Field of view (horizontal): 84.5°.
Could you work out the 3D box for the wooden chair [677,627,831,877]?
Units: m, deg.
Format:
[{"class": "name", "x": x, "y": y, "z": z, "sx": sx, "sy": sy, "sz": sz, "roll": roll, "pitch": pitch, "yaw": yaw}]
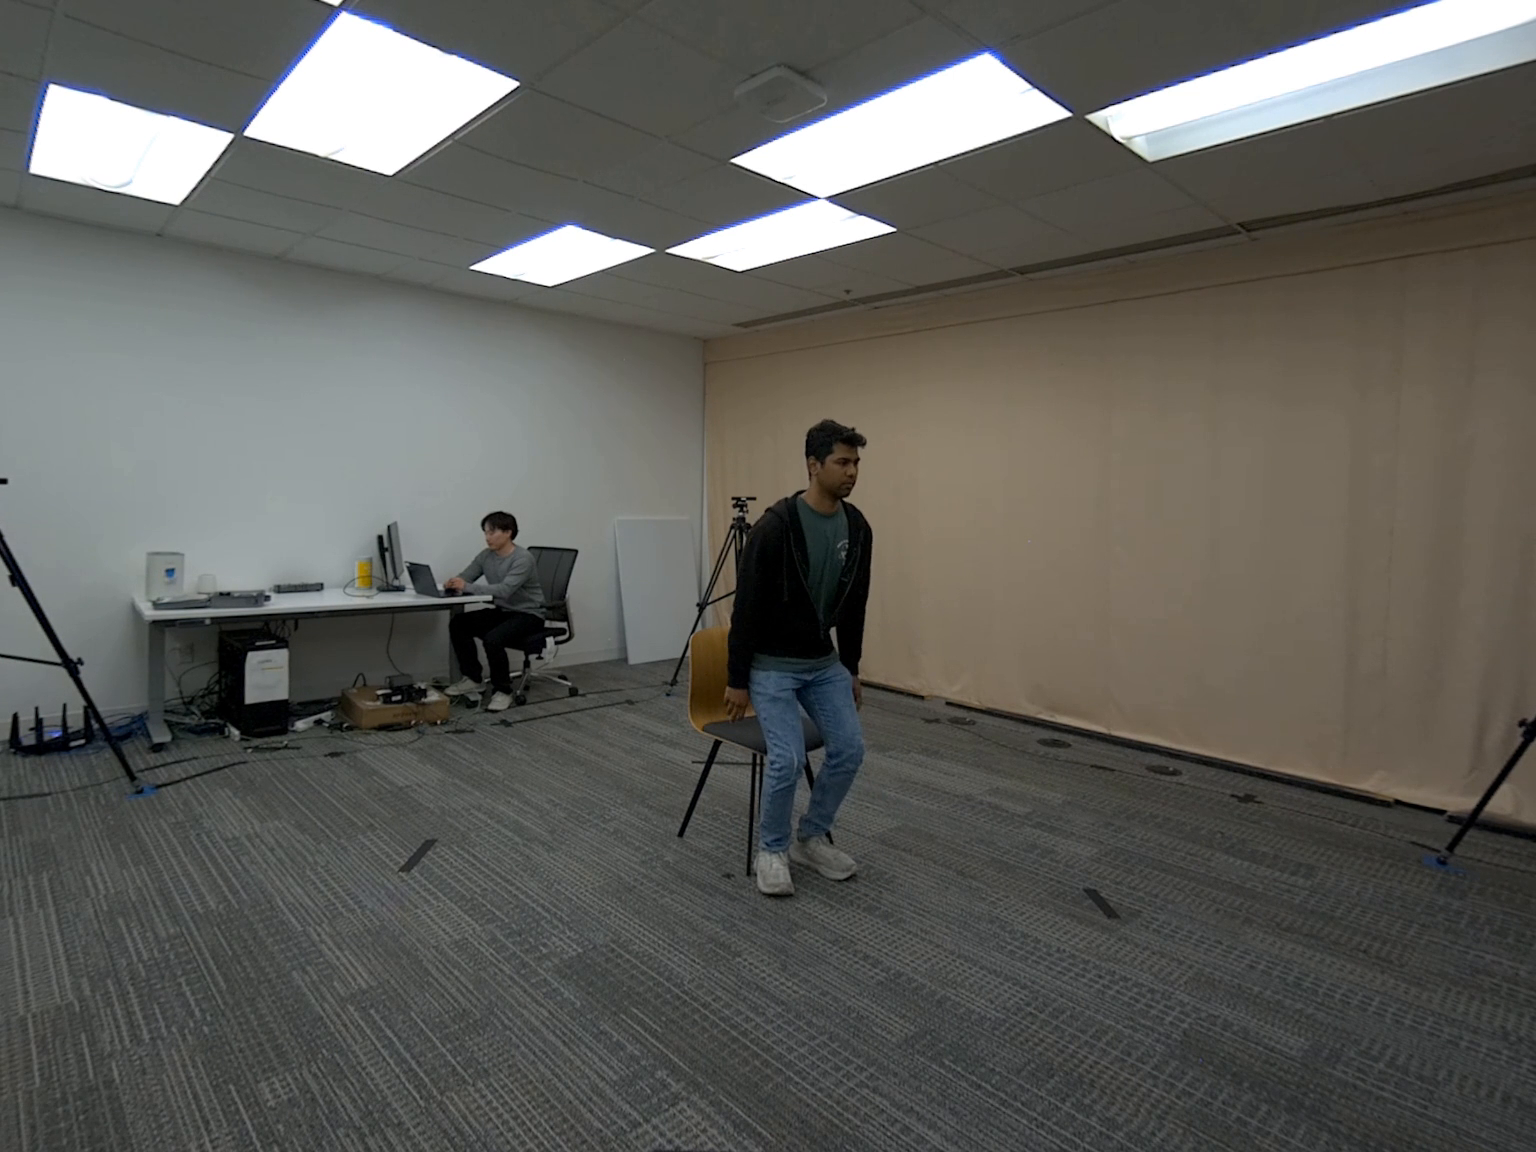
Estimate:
[{"class": "wooden chair", "x": -0.046, "y": 0.657, "z": 3.377, "sx": 0.467, "sy": 0.878, "sz": 0.535, "roll": 0, "pitch": 0, "yaw": -40}]
